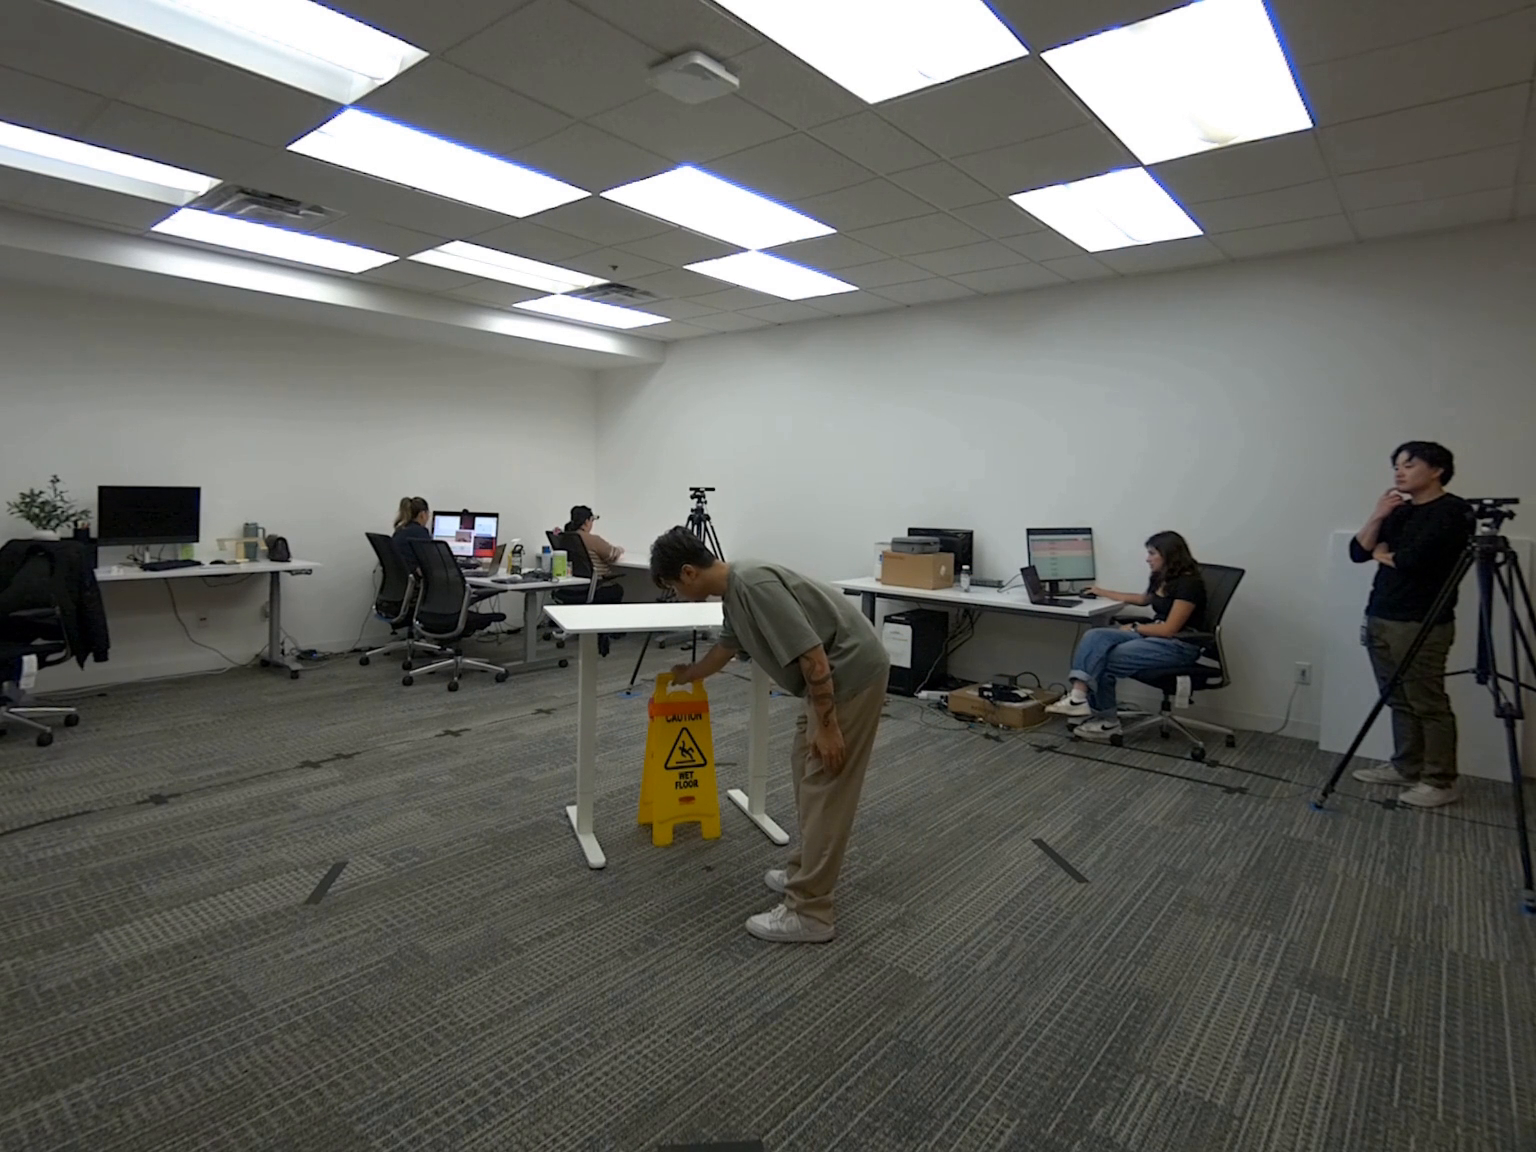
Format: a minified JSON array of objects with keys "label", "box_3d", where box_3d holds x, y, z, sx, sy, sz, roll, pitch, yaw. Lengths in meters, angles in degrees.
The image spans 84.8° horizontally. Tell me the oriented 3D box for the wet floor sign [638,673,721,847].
[{"label":"wet floor sign","box_3d":[-0.362,0.713,3.450,0.276,0.645,0.296,3,1,-22]}]
